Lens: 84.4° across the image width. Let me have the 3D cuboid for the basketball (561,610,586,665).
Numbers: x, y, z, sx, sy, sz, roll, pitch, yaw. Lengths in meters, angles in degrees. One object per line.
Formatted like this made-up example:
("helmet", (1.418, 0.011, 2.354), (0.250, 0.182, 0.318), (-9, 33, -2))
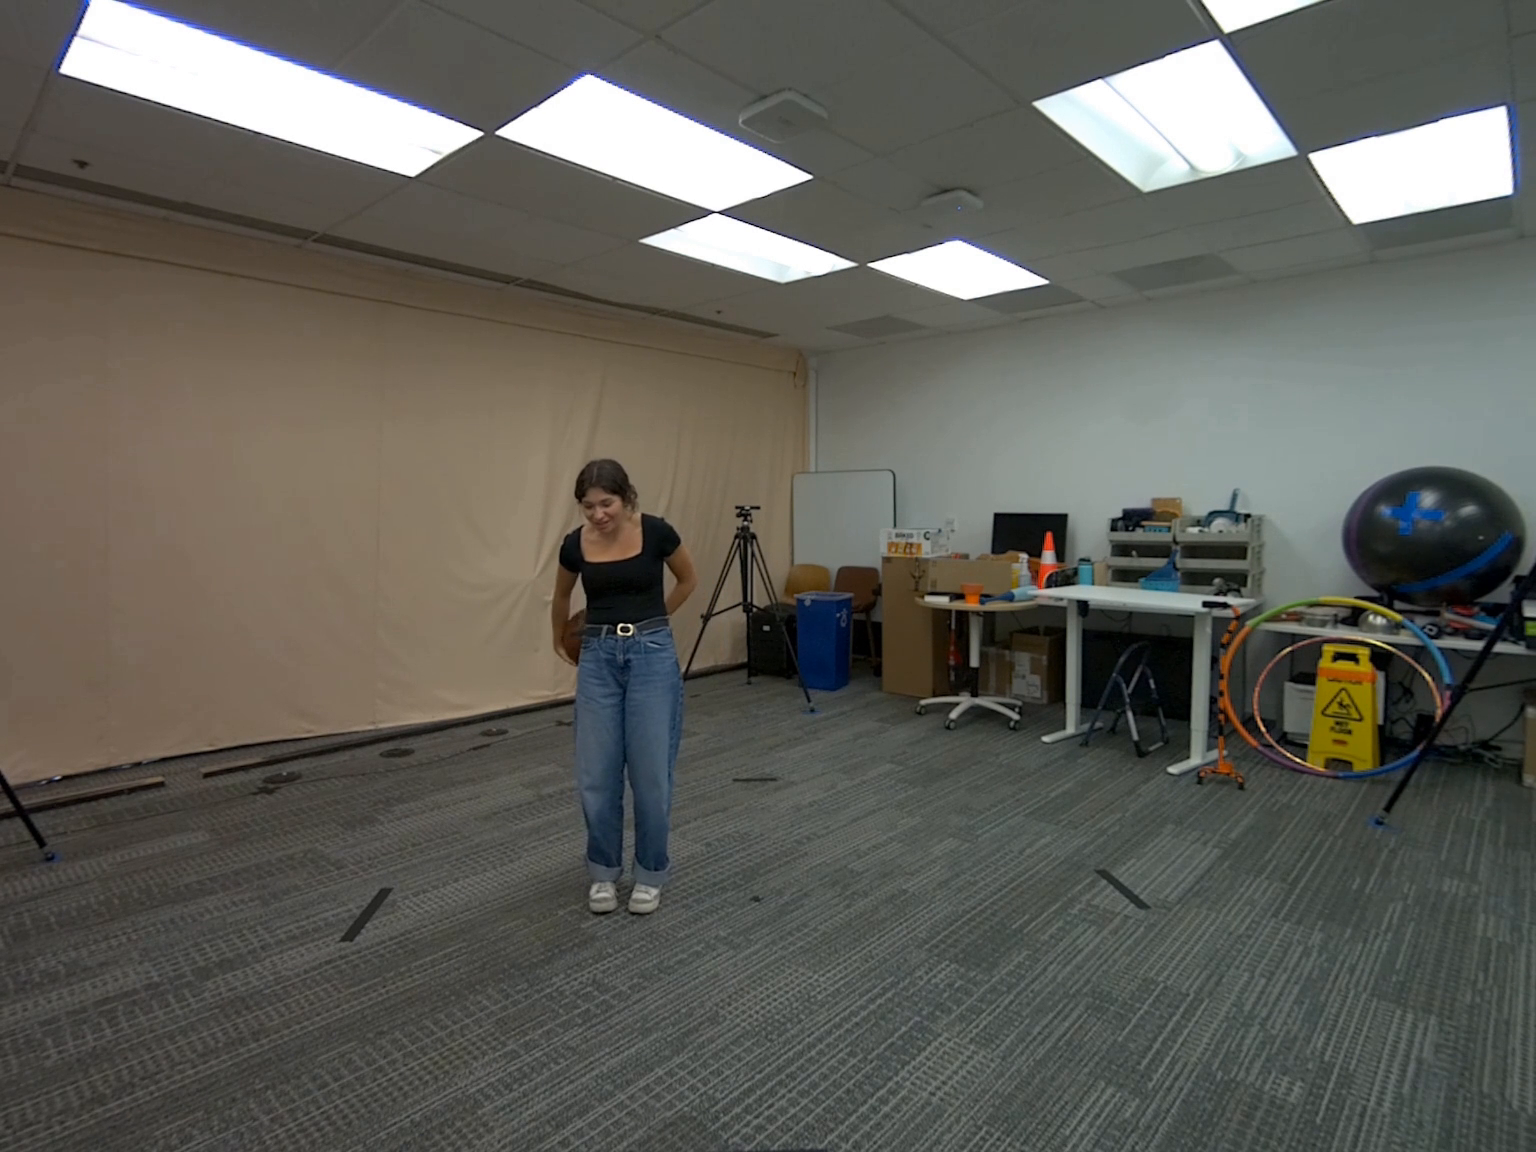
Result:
("basketball", (-0.649, 0.233, 3.206), (0.236, 0.235, 0.237), (0, 4, -2))
